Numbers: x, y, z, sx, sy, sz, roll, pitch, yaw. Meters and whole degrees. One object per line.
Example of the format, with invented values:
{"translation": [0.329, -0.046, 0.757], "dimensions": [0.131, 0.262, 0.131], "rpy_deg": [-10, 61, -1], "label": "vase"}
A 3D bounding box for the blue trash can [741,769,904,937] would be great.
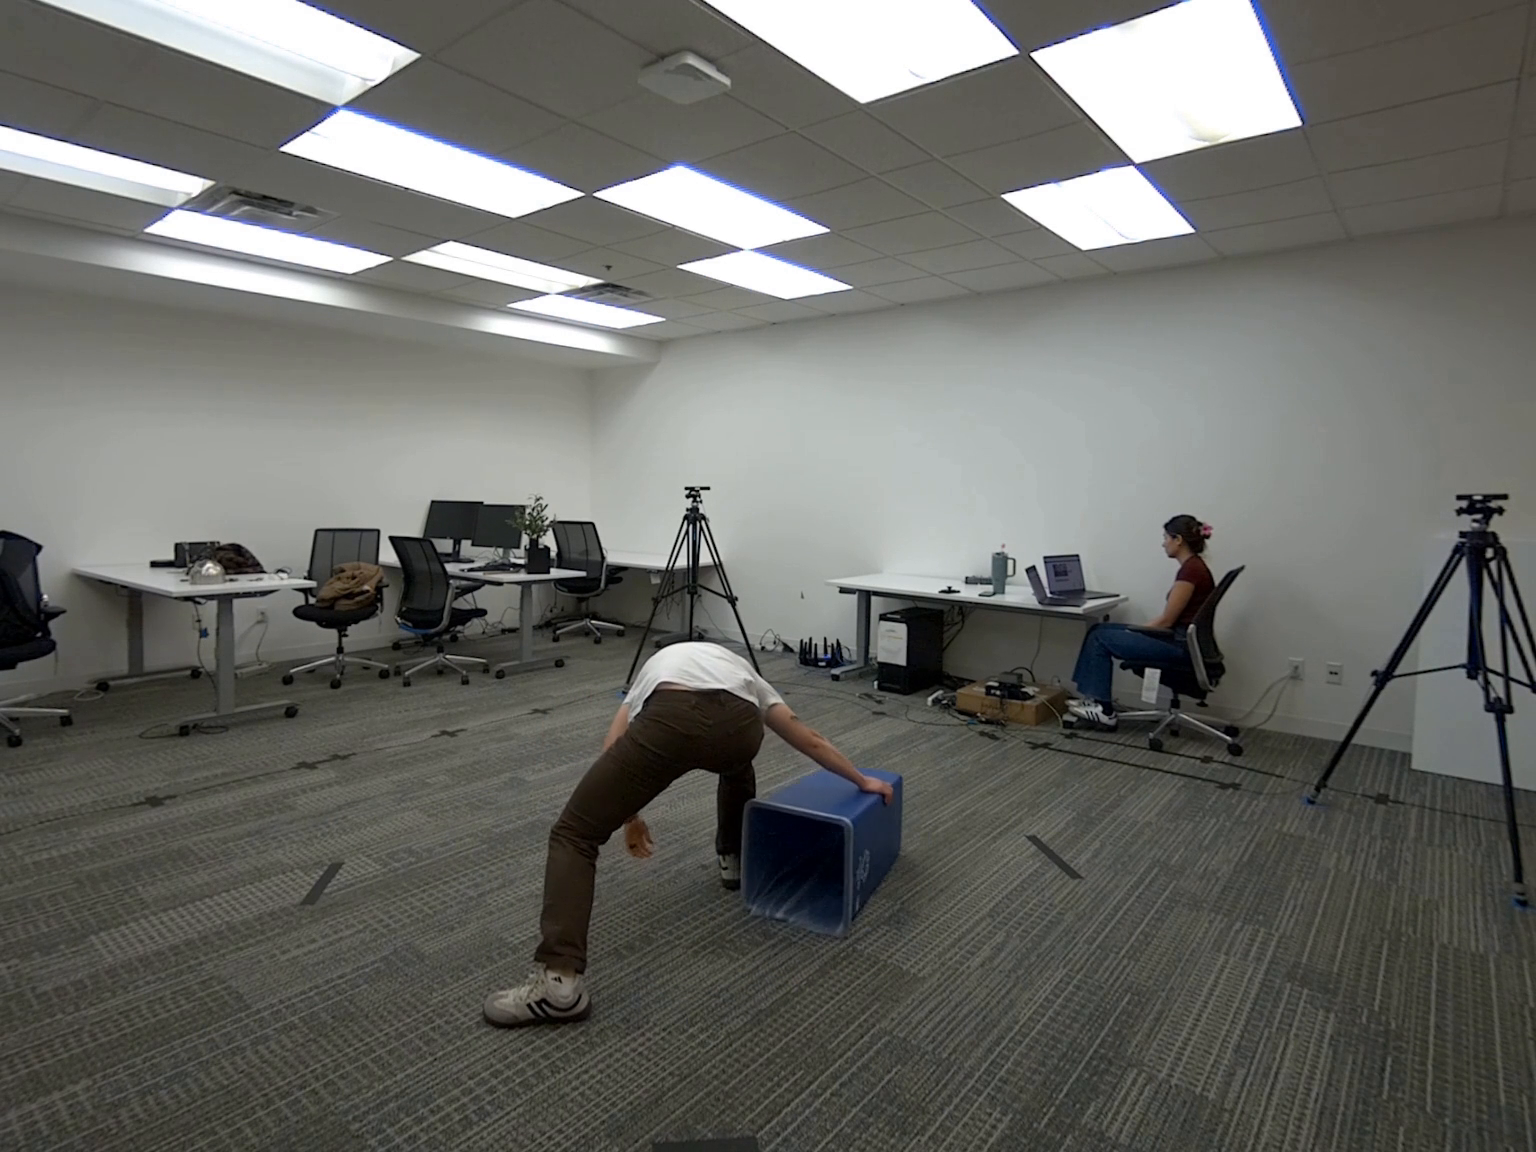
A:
{"translation": [0.224, 0.911, 3.024], "dimensions": [0.384, 0.377, 0.696], "rpy_deg": [2, 3, 26], "label": "blue trash can"}
